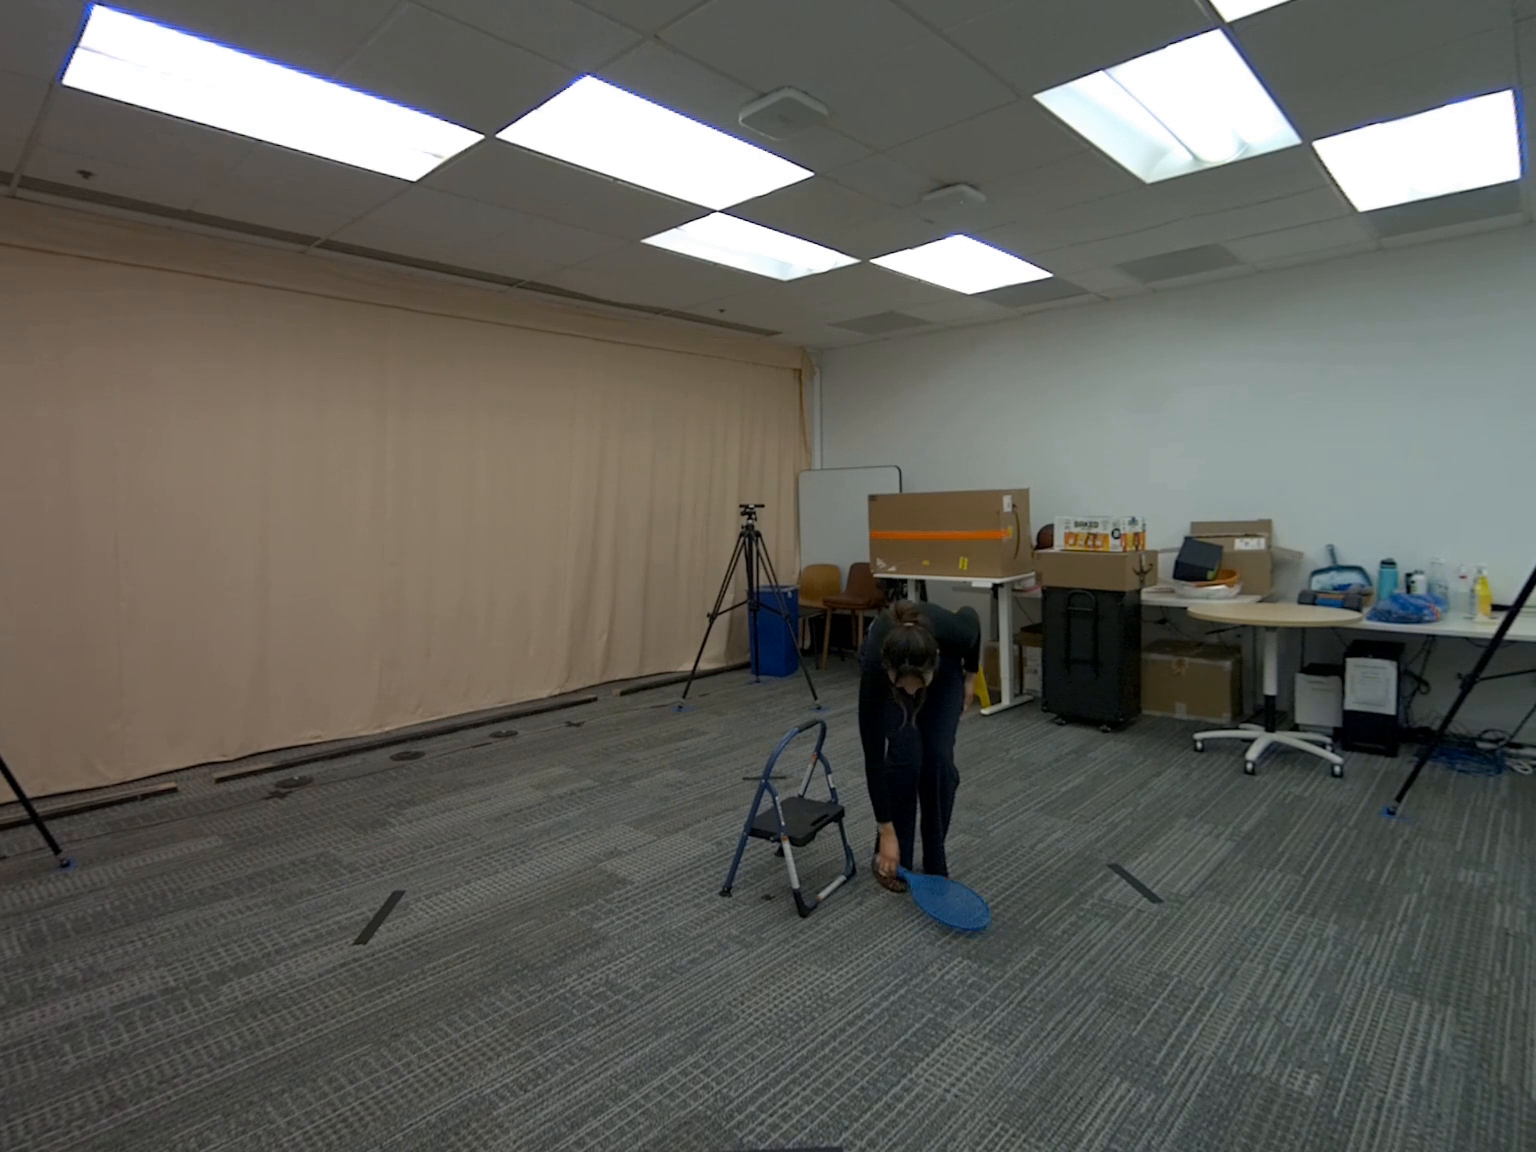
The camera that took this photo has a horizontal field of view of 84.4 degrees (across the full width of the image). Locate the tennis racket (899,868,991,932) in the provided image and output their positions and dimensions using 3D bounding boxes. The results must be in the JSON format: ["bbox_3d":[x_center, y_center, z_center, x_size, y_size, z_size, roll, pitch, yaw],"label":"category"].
[{"bbox_3d":[0.553,1.045,2.831,0.448,0.031,0.208,16,23,37],"label":"tennis racket"}]
